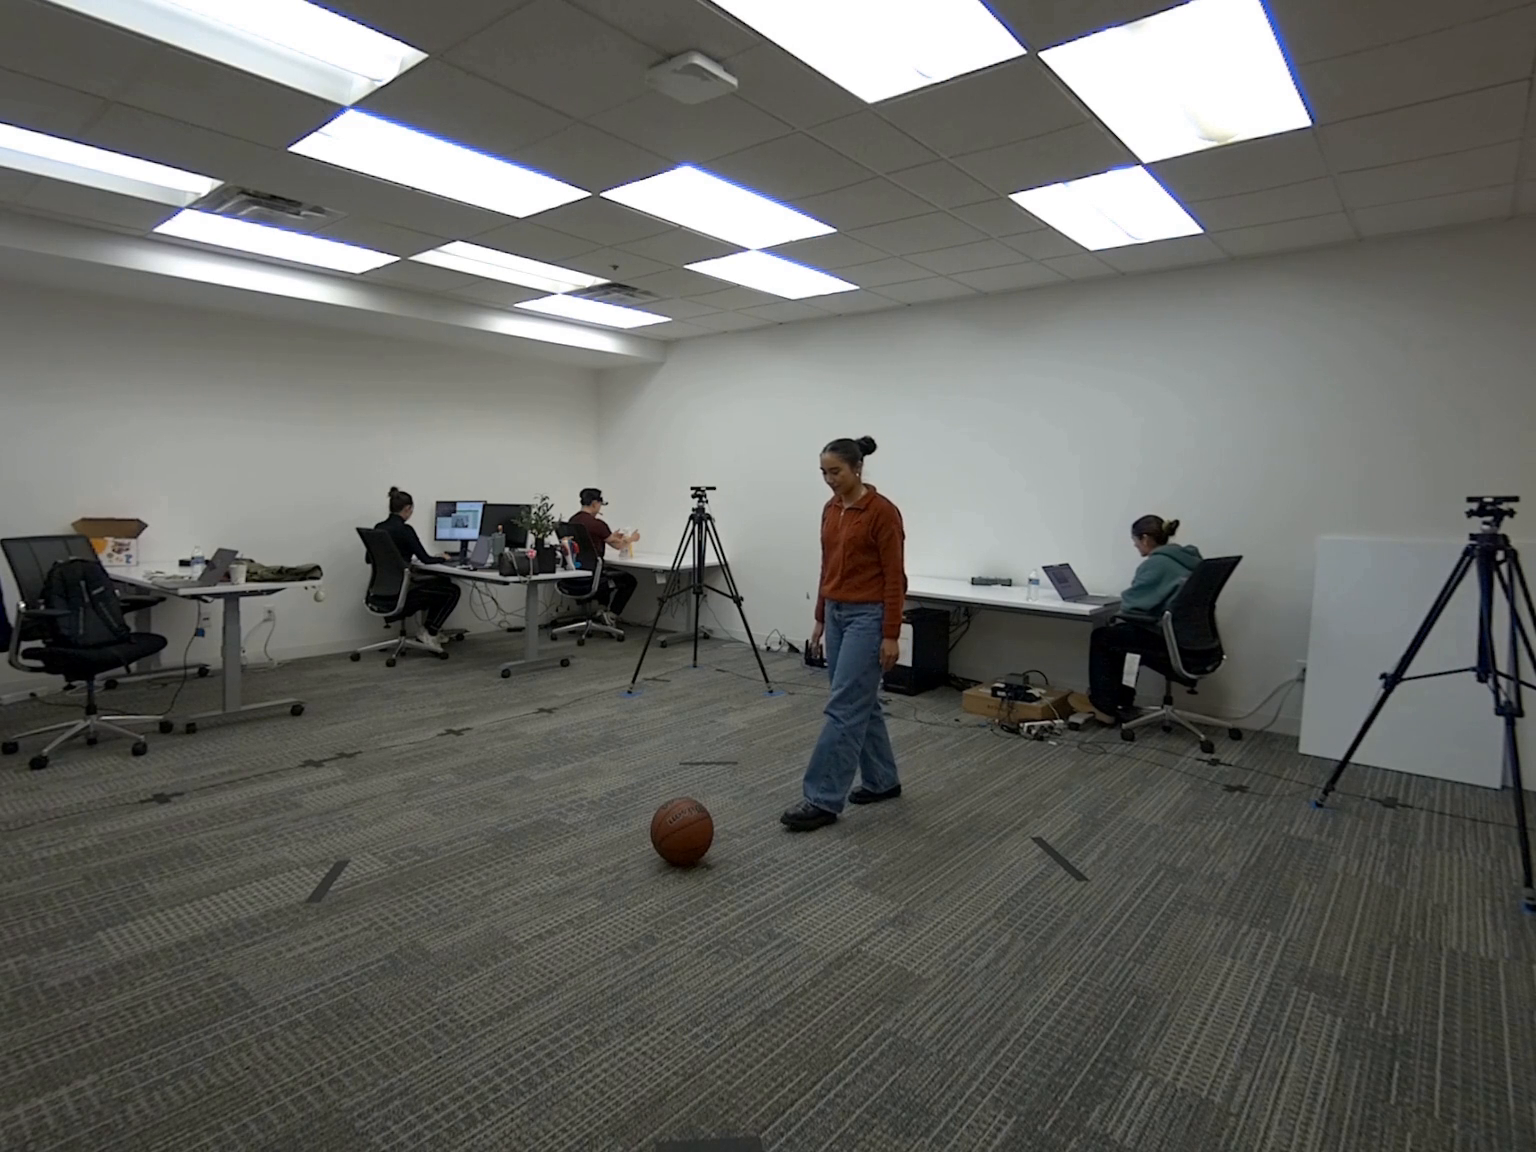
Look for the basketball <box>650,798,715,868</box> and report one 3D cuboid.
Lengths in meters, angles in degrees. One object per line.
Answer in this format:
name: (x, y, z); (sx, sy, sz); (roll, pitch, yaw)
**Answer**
basketball: (-0.325, 0.941, 3.153); (0.235, 0.235, 0.237); (1, 4, -2)
